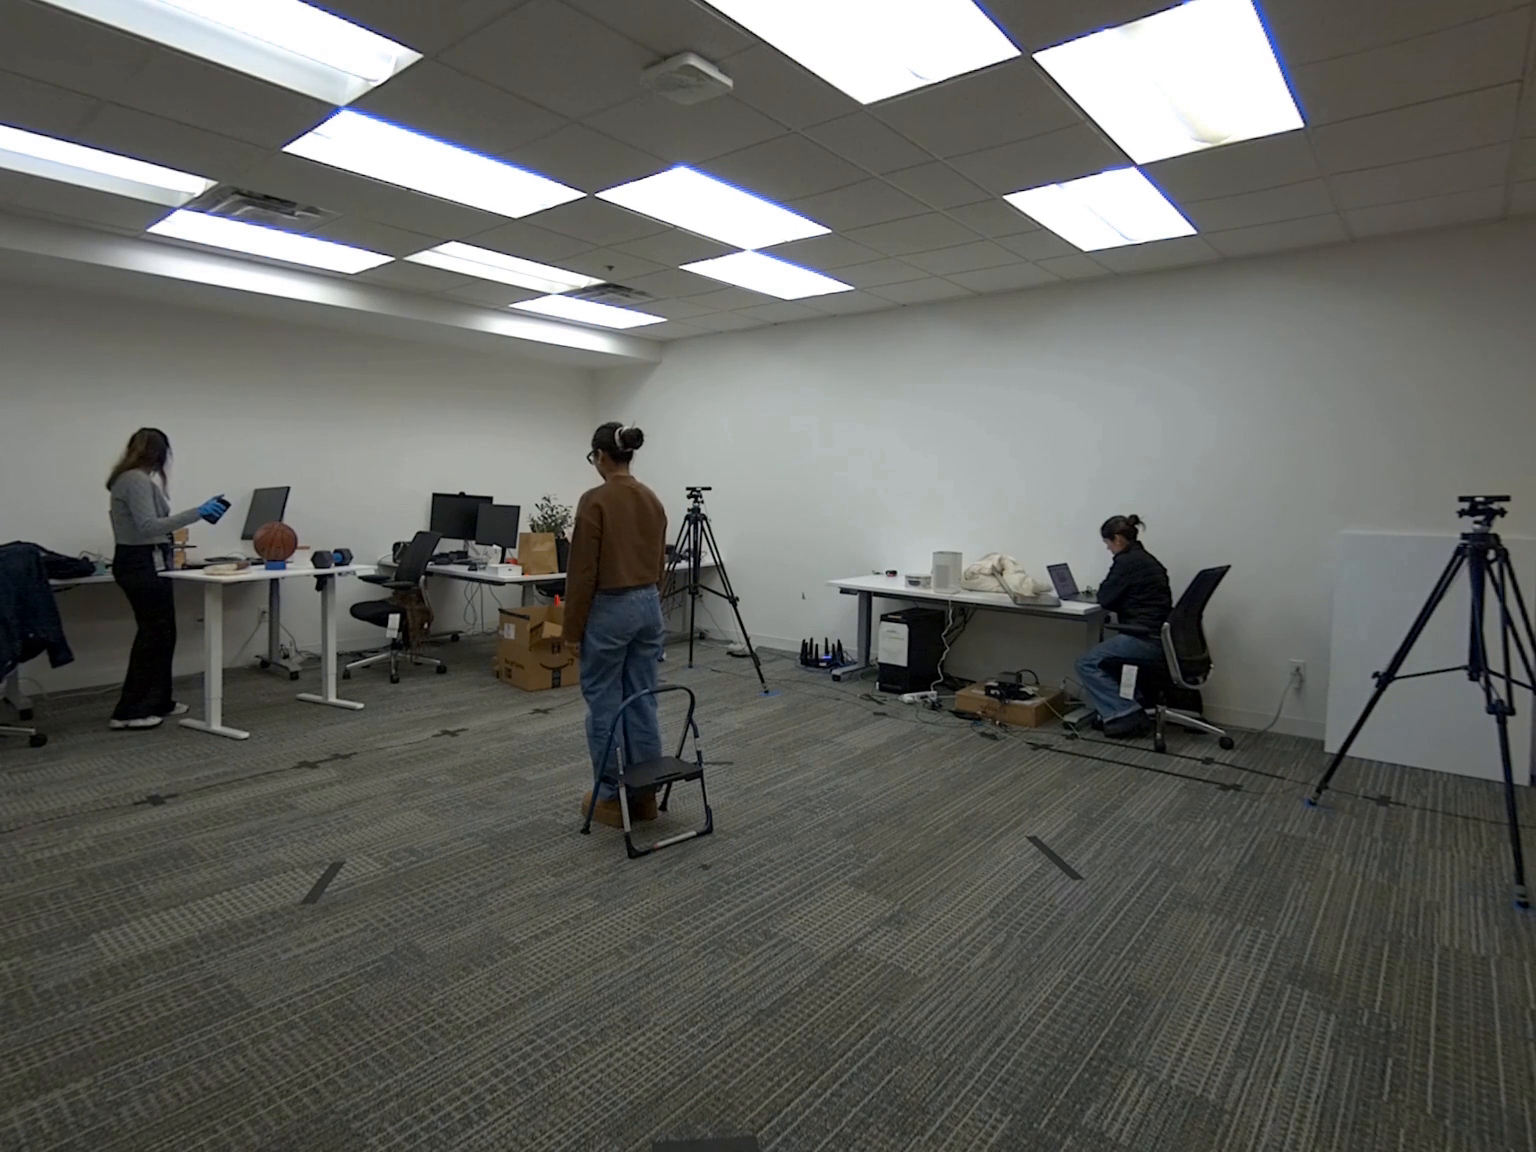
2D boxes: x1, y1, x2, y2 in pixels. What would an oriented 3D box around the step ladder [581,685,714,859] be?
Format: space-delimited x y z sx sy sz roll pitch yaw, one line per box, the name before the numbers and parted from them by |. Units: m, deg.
step ladder | -0.487 0.729 3.412 0.417 0.604 0.361 -2 5 -44
